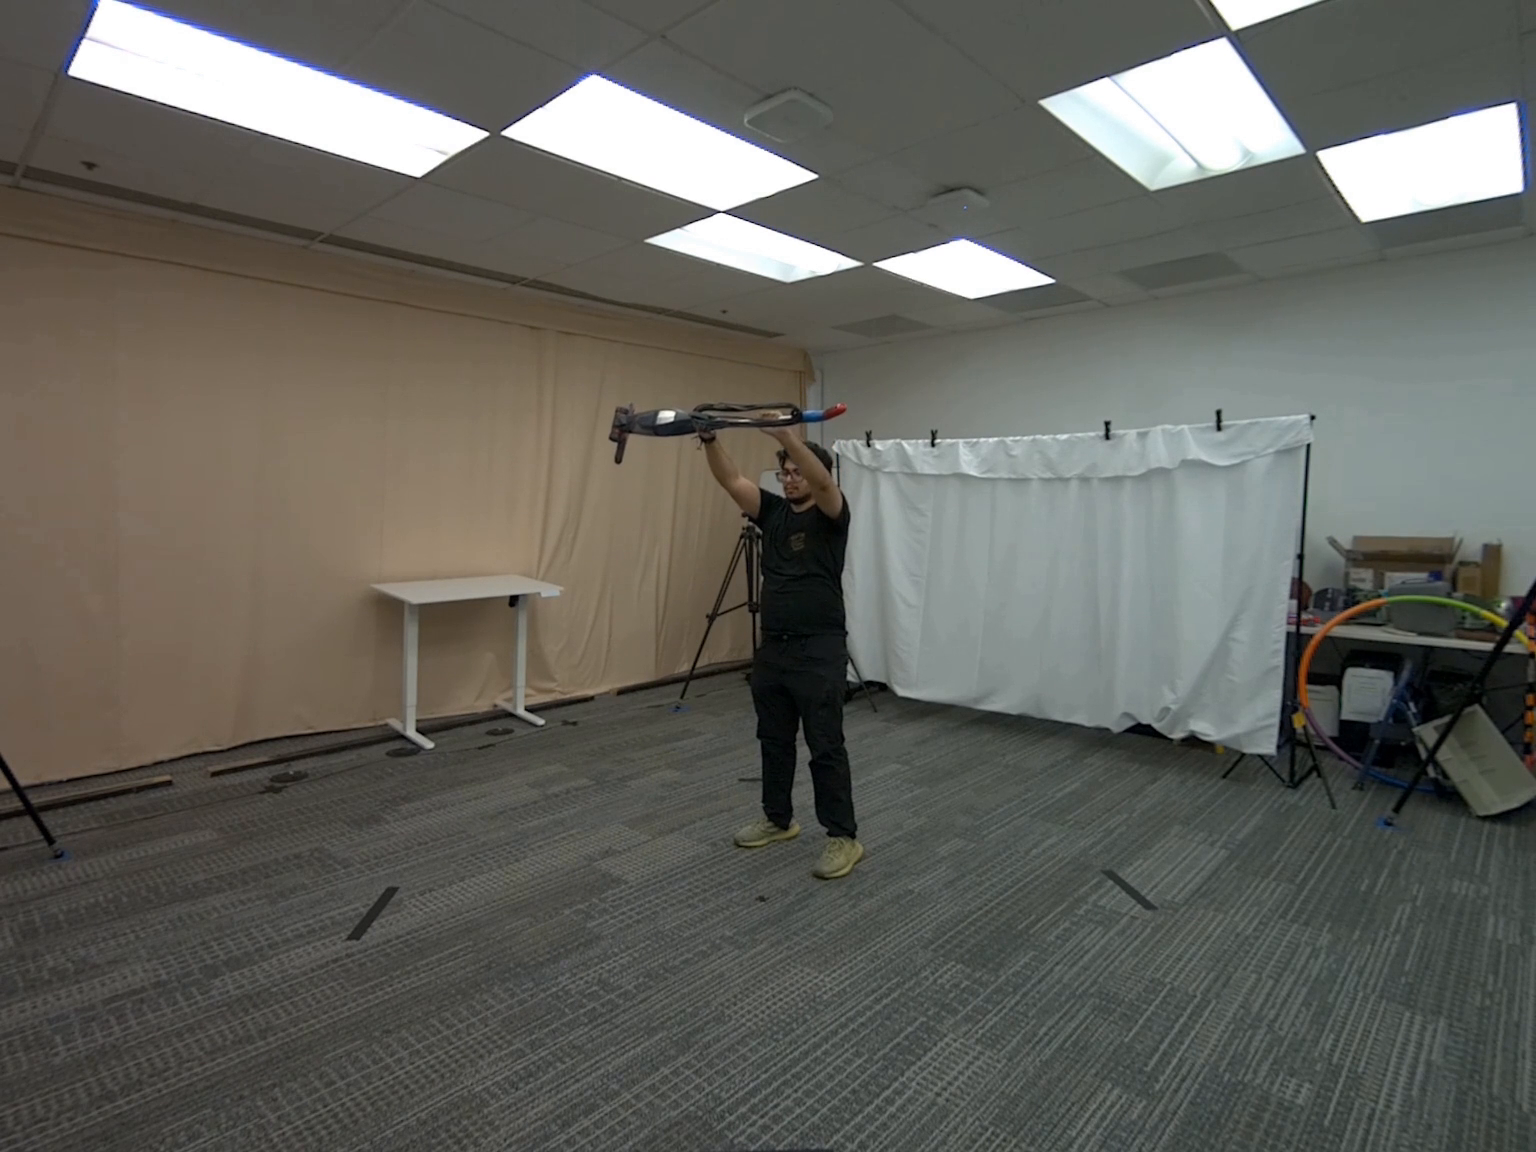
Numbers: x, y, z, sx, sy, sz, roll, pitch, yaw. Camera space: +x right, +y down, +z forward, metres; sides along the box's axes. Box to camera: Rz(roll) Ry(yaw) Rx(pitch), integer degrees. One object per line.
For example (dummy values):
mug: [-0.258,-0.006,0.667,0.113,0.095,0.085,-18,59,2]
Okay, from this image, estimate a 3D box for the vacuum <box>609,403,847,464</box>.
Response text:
vacuum: [-0.176,-0.559,3.012,1.084,0.254,0.139,3,-17,39]
